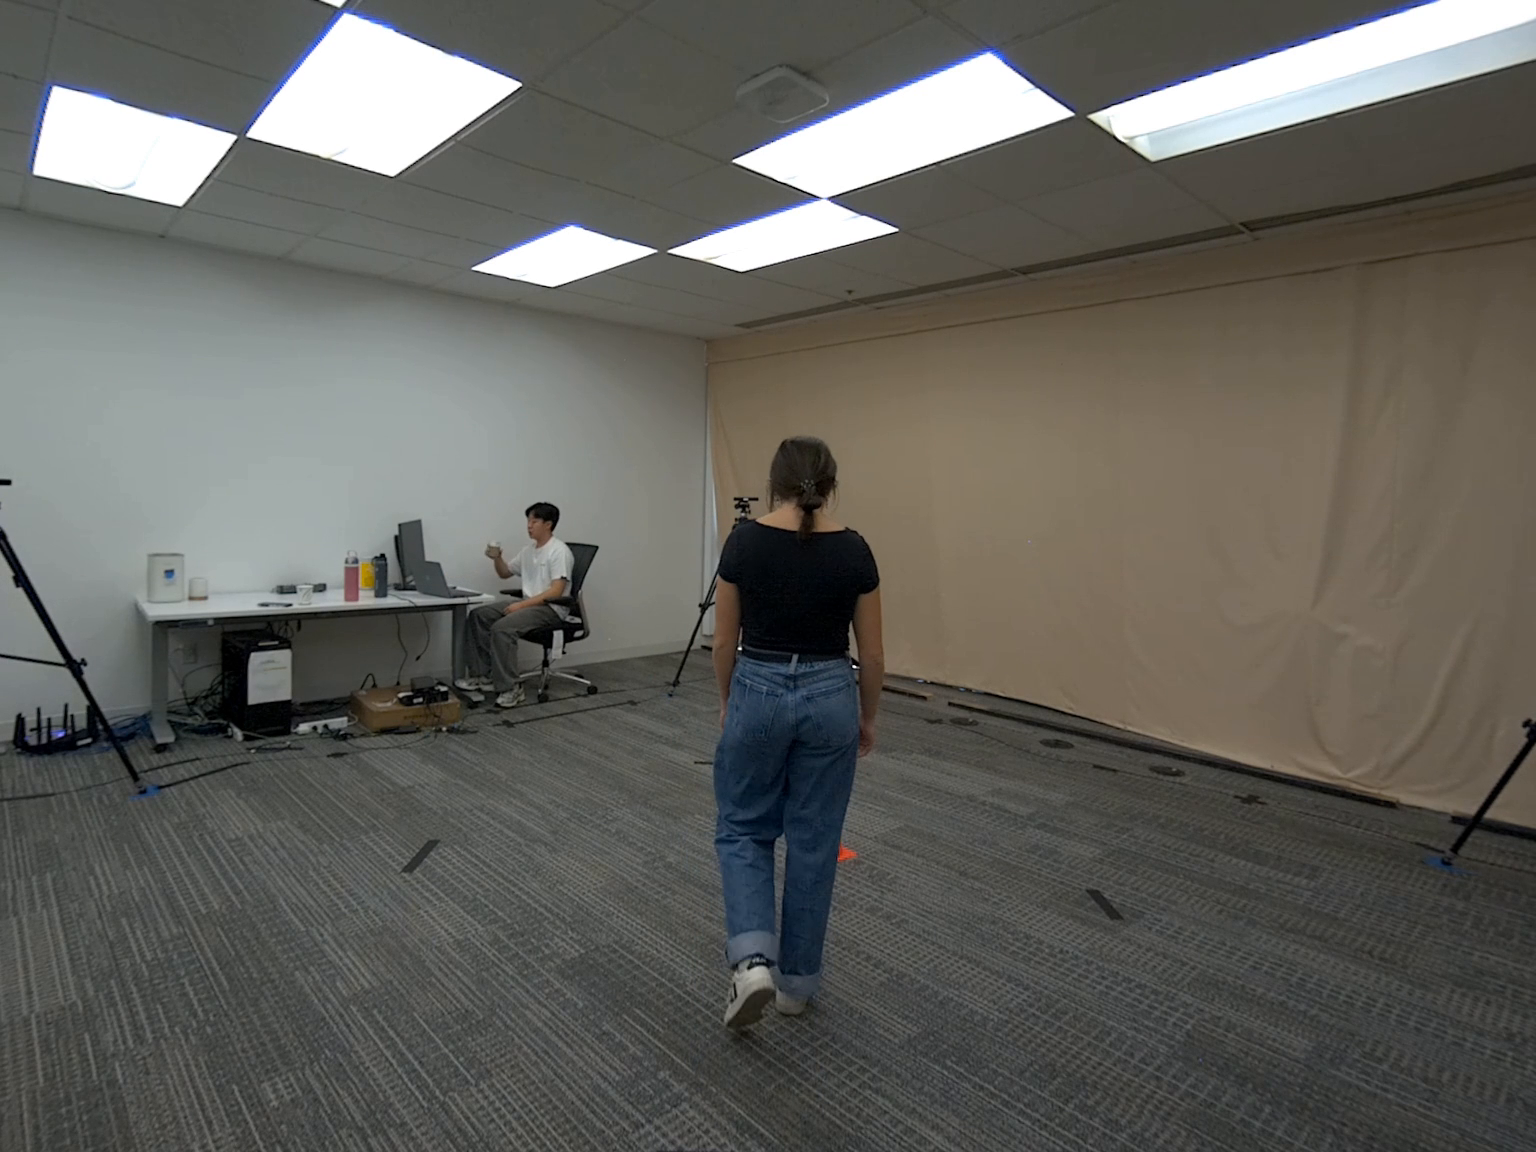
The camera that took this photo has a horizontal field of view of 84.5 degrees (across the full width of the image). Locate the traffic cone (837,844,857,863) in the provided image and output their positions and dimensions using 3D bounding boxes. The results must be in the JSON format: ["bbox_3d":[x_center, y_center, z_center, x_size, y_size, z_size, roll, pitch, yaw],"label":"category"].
[{"bbox_3d":[0.216,0.914,3.332,0.200,0.383,0.208,1,2,-39],"label":"traffic cone"}]
